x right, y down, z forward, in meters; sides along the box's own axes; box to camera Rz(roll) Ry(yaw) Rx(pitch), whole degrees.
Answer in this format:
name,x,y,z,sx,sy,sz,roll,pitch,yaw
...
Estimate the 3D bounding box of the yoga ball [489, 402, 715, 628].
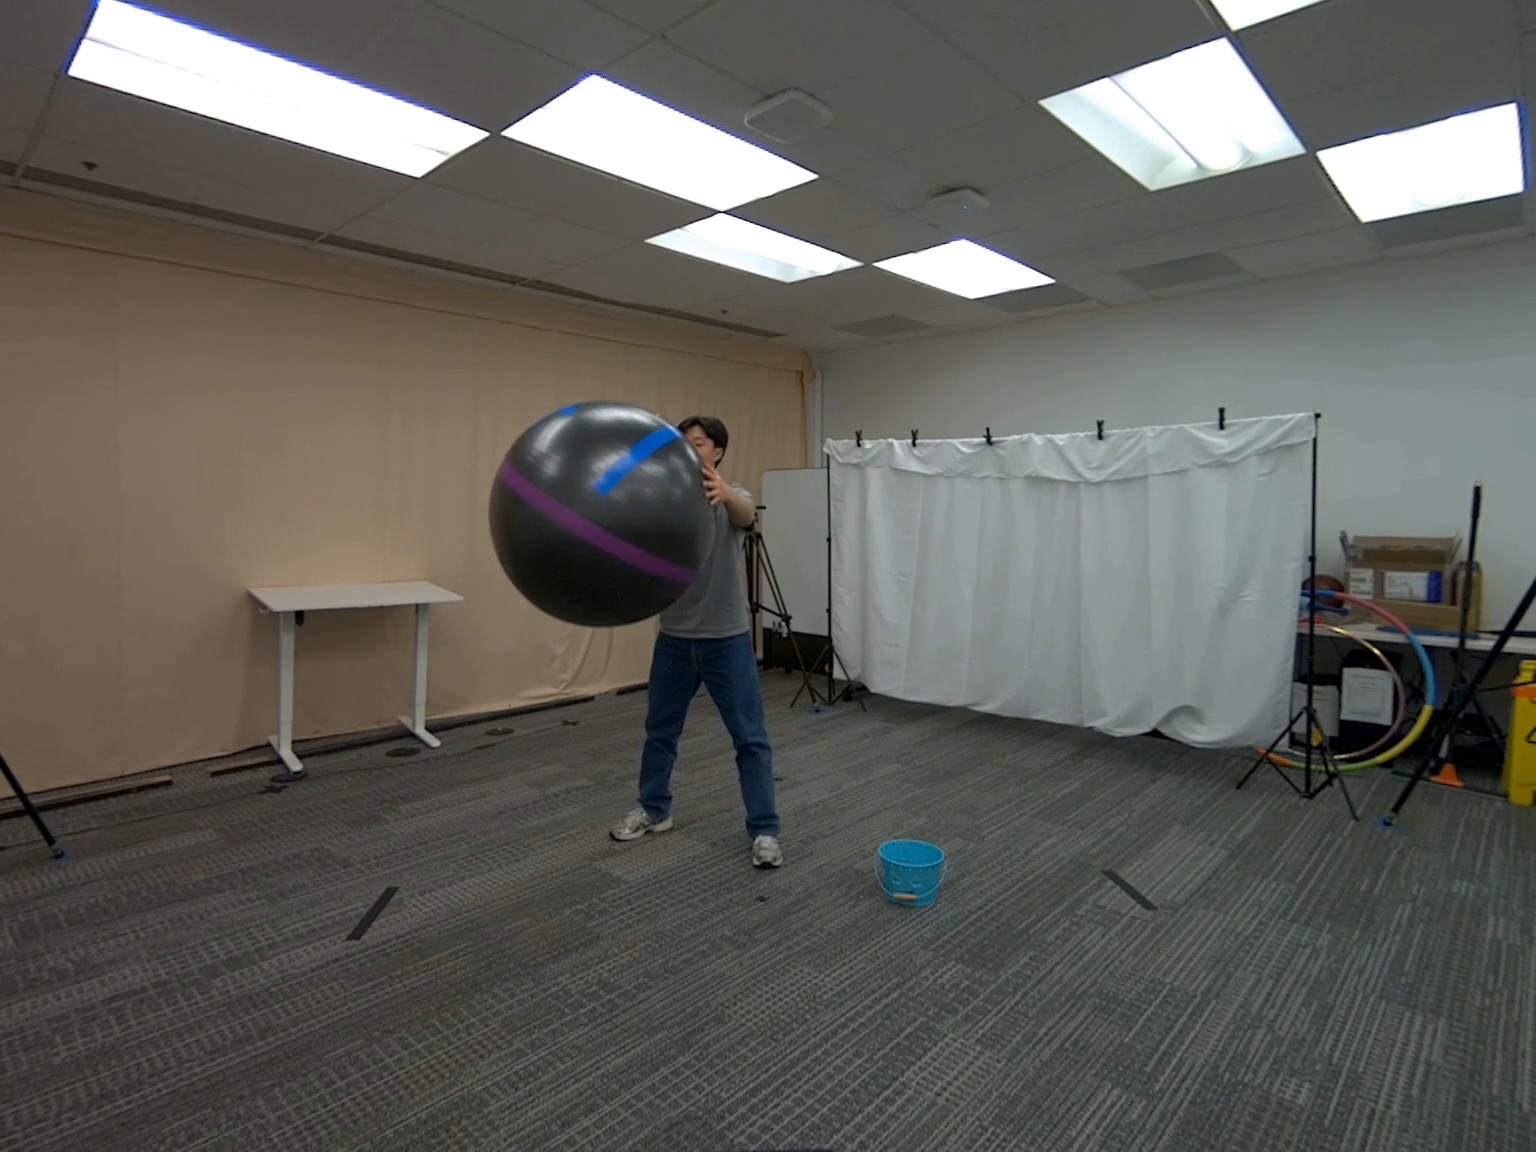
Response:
name,x,y,z,sx,sy,sz,roll,pitch,yaw
yoga ball,-0.560,-0.185,2.849,0.757,0.756,0.760,0,4,-2
